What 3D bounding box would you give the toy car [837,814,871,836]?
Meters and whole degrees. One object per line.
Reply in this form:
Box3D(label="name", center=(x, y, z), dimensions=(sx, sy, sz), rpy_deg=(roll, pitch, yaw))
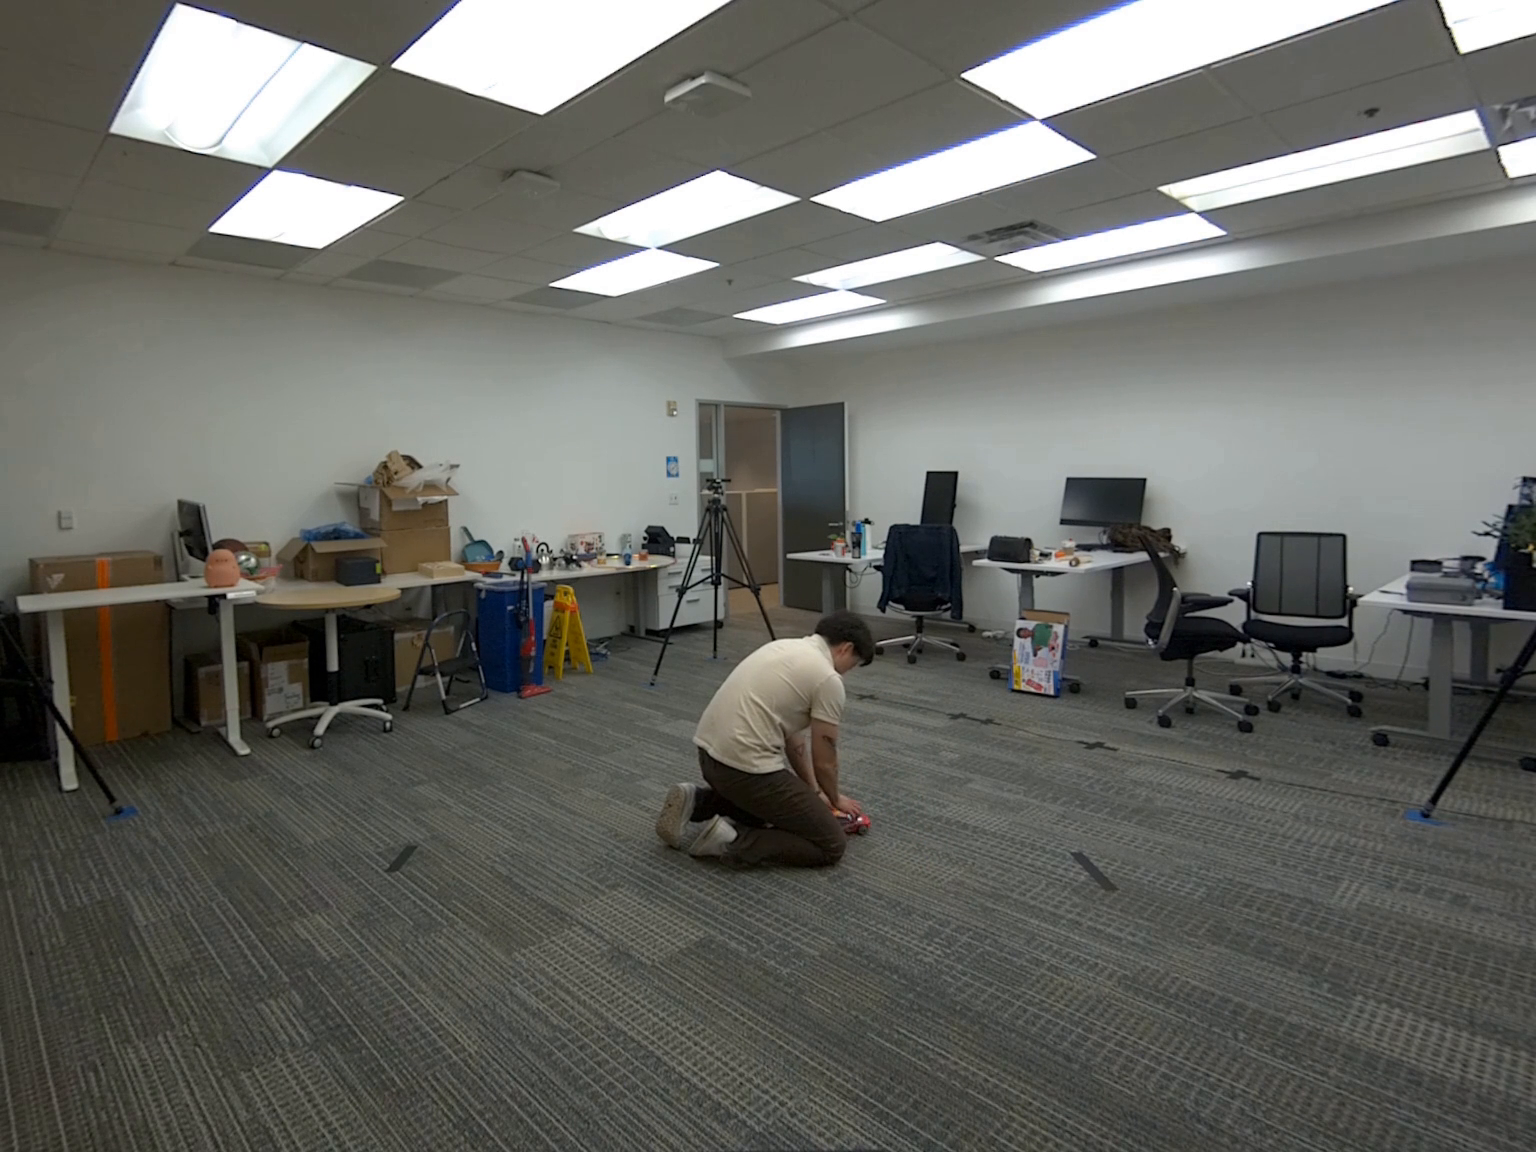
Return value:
Box3D(label="toy car", center=(0.271, 0.972, 3.361), dimensions=(0.253, 0.083, 0.131), rpy_deg=(9, 6, -6))
